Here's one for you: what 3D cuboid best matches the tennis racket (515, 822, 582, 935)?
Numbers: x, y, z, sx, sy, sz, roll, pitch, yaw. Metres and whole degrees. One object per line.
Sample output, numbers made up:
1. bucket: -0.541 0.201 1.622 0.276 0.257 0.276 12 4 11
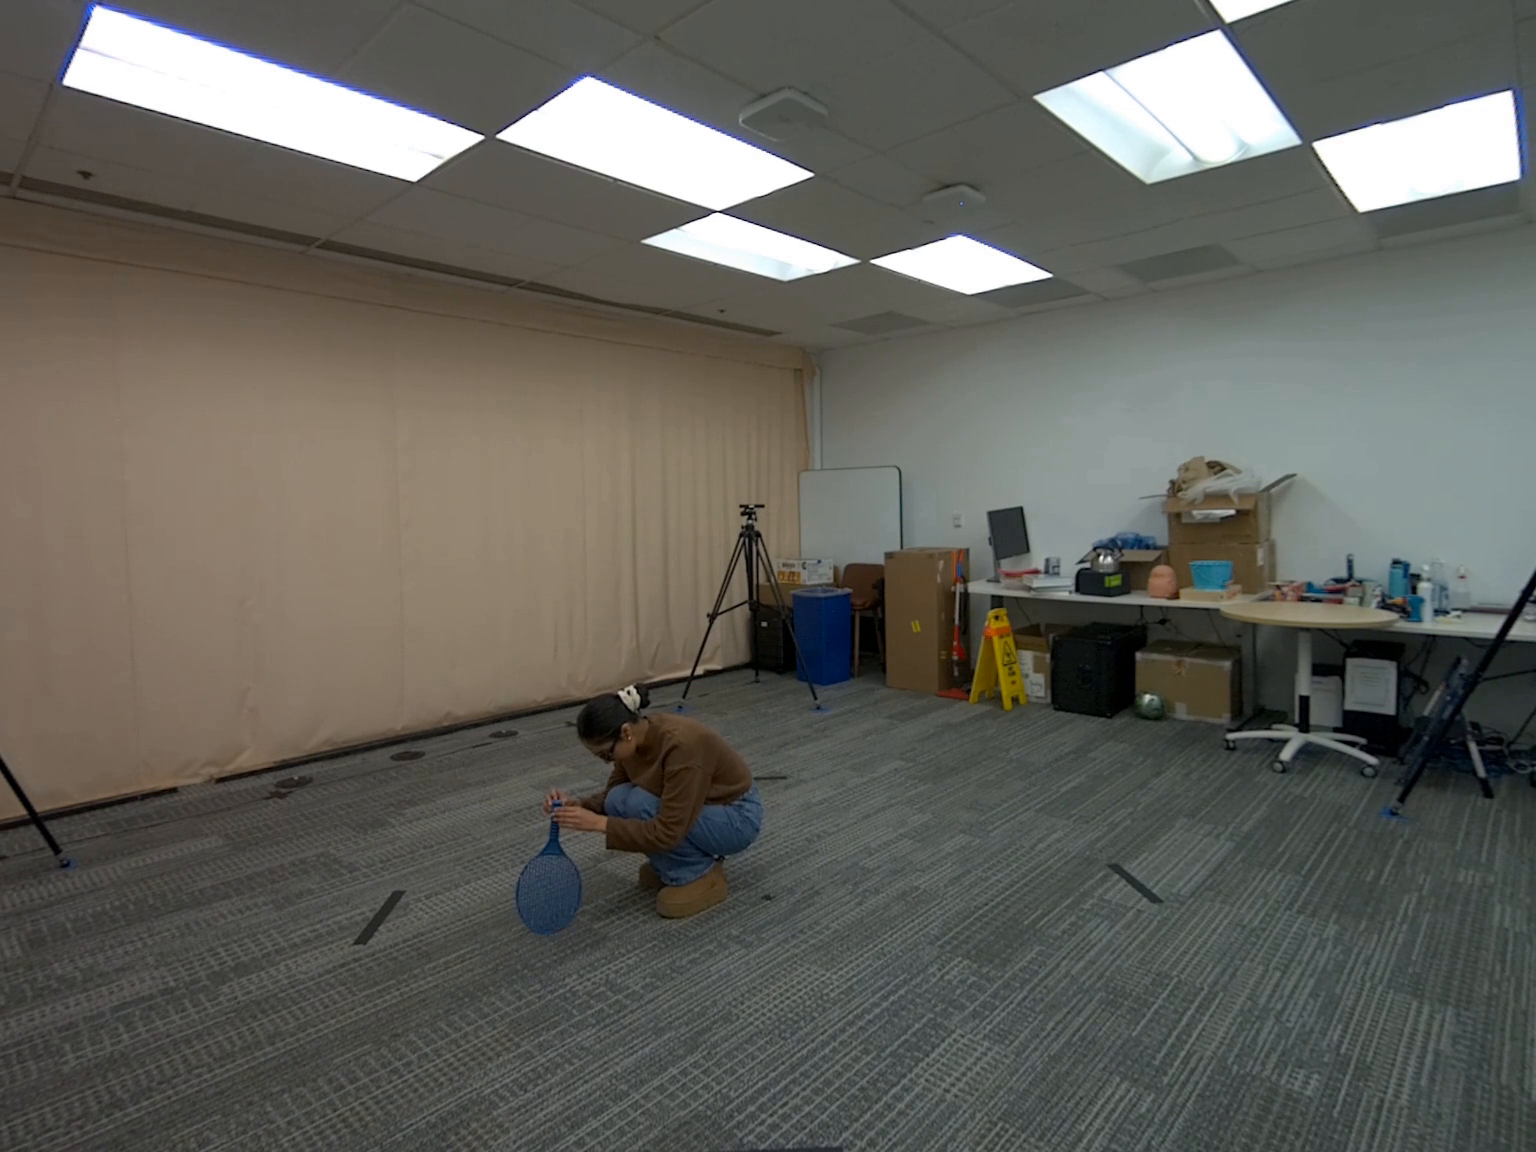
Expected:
1. tennis racket: -0.713 0.963 2.776 0.212 0.433 0.032 10 -1 -7
